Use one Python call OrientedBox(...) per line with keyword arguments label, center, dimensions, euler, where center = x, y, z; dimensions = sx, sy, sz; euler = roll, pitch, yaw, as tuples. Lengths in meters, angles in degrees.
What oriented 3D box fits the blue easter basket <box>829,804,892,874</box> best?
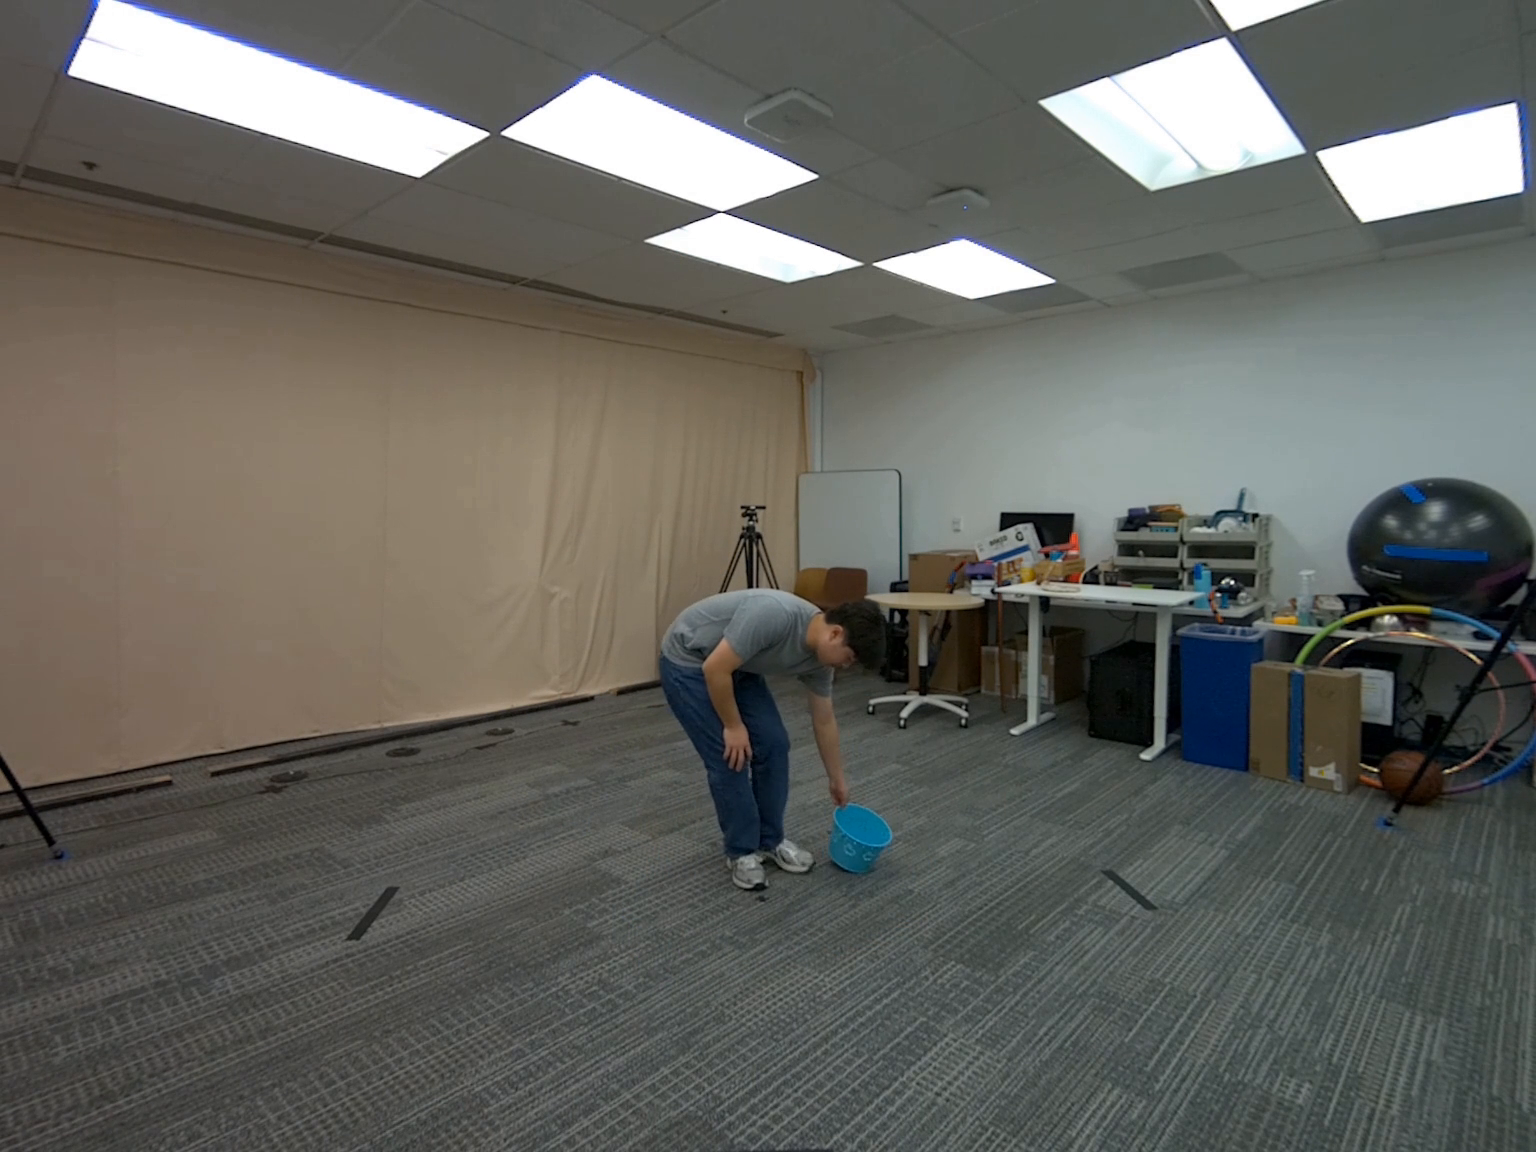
OrientedBox(label="blue easter basket", center=(0.347, 1.019, 3.231), dimensions=(0.242, 0.155, 0.247), euler=(13, 22, -7))
